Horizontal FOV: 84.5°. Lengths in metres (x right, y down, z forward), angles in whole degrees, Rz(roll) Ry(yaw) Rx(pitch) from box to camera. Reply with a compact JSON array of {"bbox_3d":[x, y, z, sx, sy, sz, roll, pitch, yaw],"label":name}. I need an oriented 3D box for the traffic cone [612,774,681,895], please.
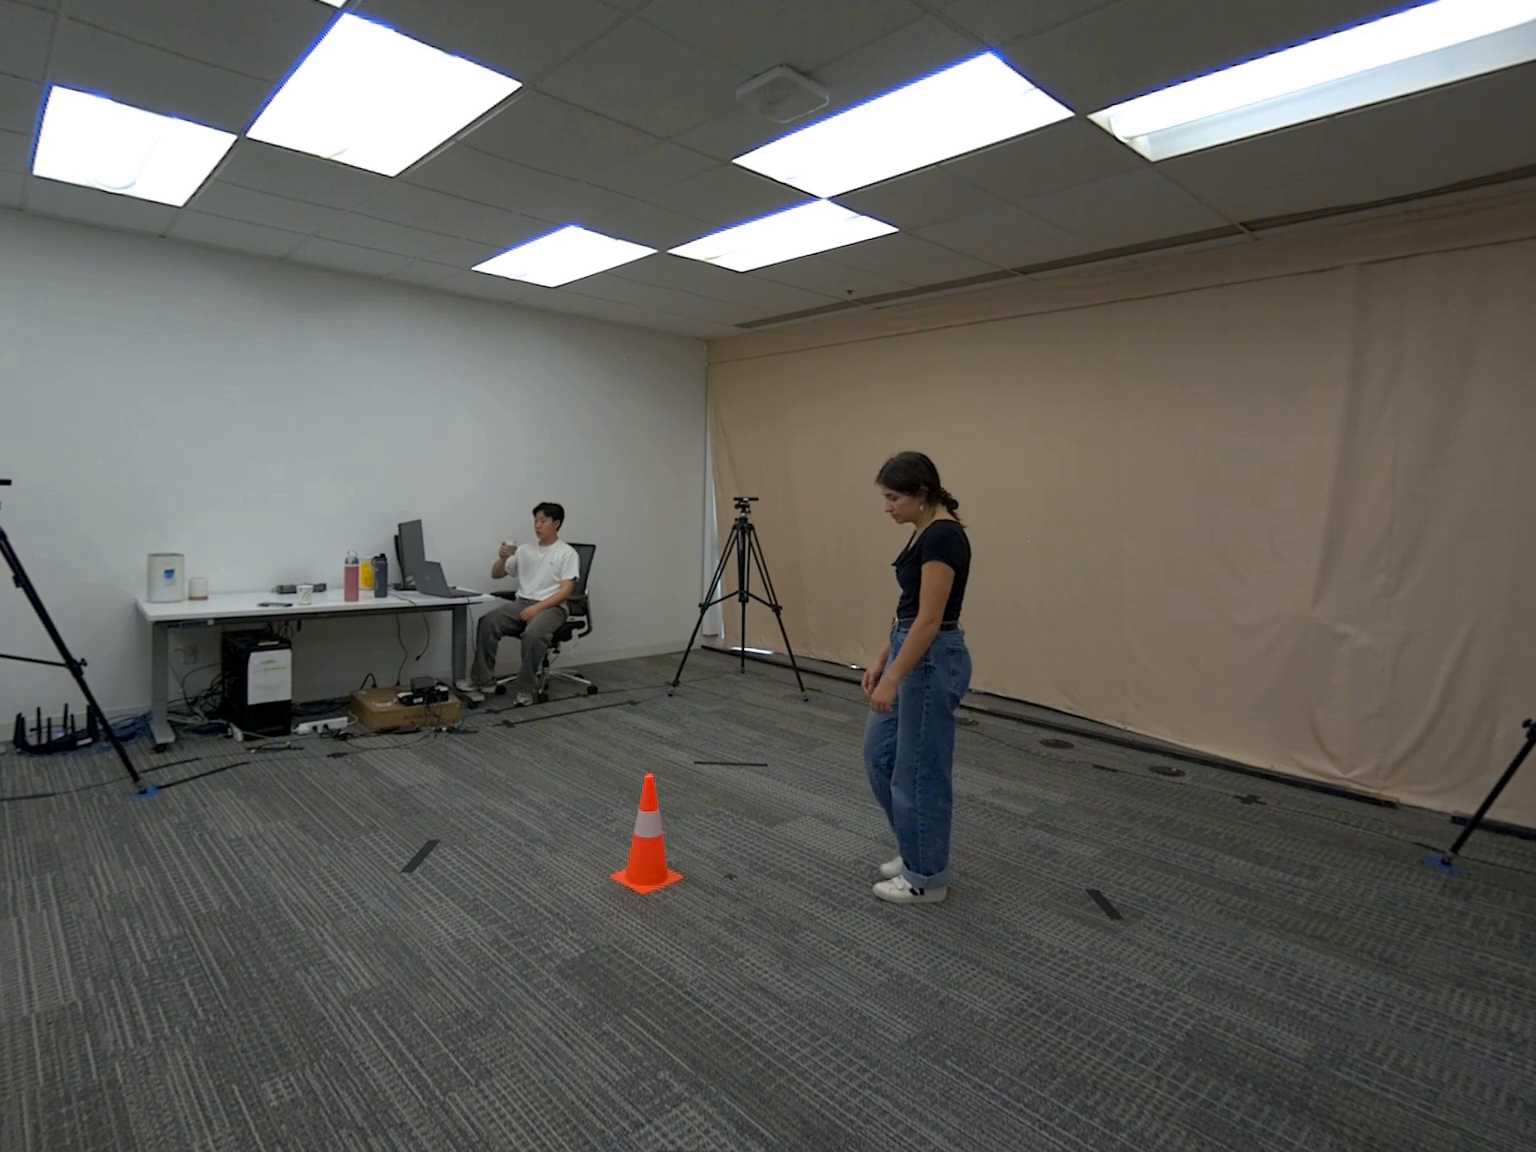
[{"bbox_3d":[-0.441,0.917,3.076,0.210,0.383,0.198,4,4,40],"label":"traffic cone"}]
